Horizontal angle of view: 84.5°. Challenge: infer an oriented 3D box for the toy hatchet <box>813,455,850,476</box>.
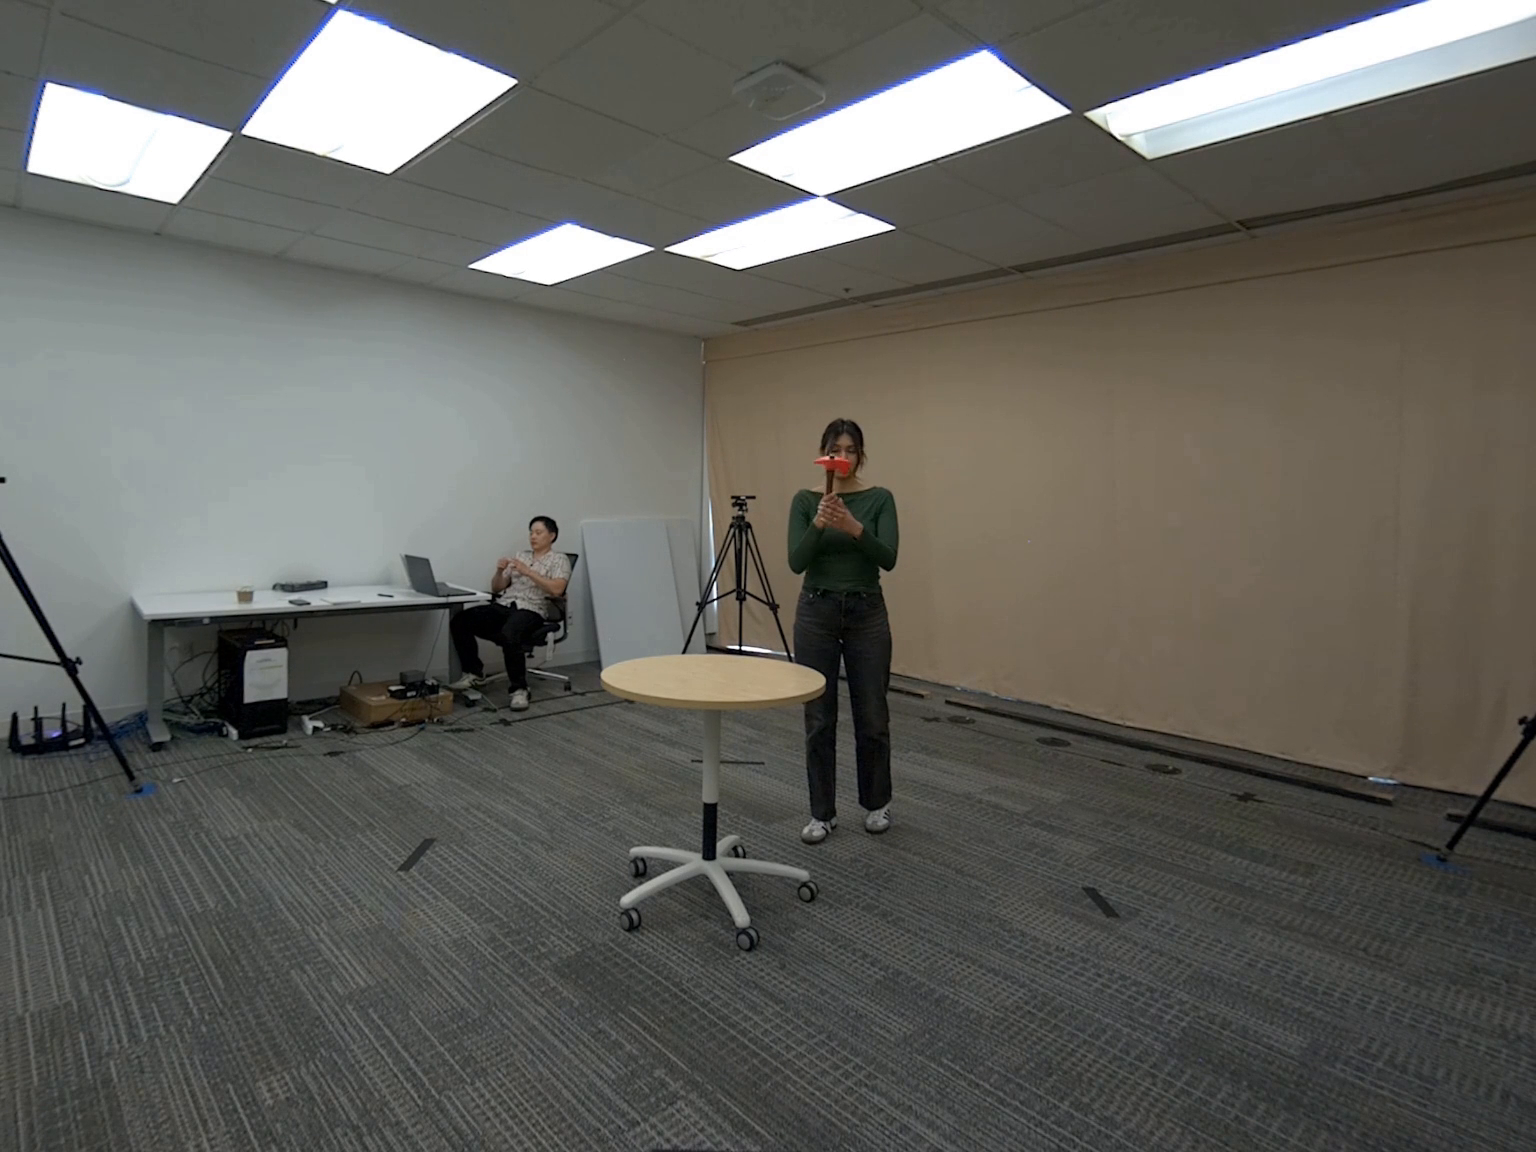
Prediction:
[{"bbox_3d":[0.258,-0.340,3.144,0.132,0.263,0.030,-16,31,12],"label":"toy hatchet"}]
